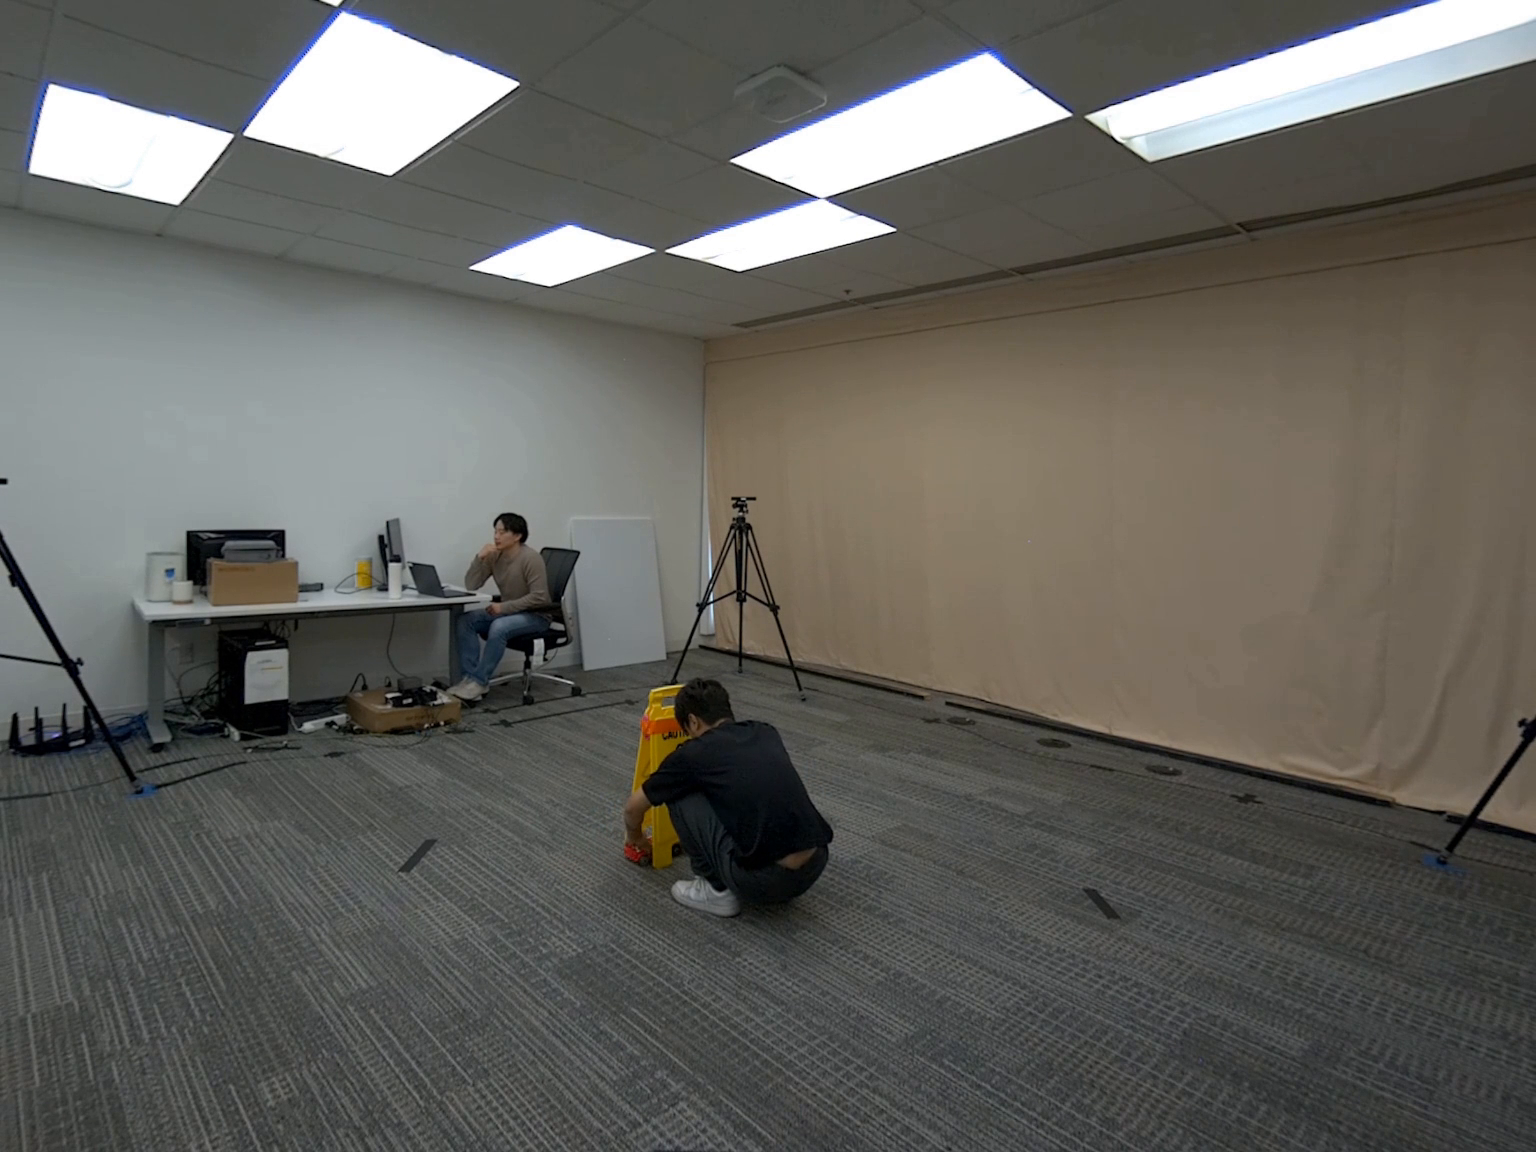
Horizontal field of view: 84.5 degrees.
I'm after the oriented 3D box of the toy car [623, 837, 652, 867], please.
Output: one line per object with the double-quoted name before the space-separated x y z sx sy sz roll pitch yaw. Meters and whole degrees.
"toy car" -0.434 1.057 3.287 0.251 0.082 0.133 -19 15 -38
